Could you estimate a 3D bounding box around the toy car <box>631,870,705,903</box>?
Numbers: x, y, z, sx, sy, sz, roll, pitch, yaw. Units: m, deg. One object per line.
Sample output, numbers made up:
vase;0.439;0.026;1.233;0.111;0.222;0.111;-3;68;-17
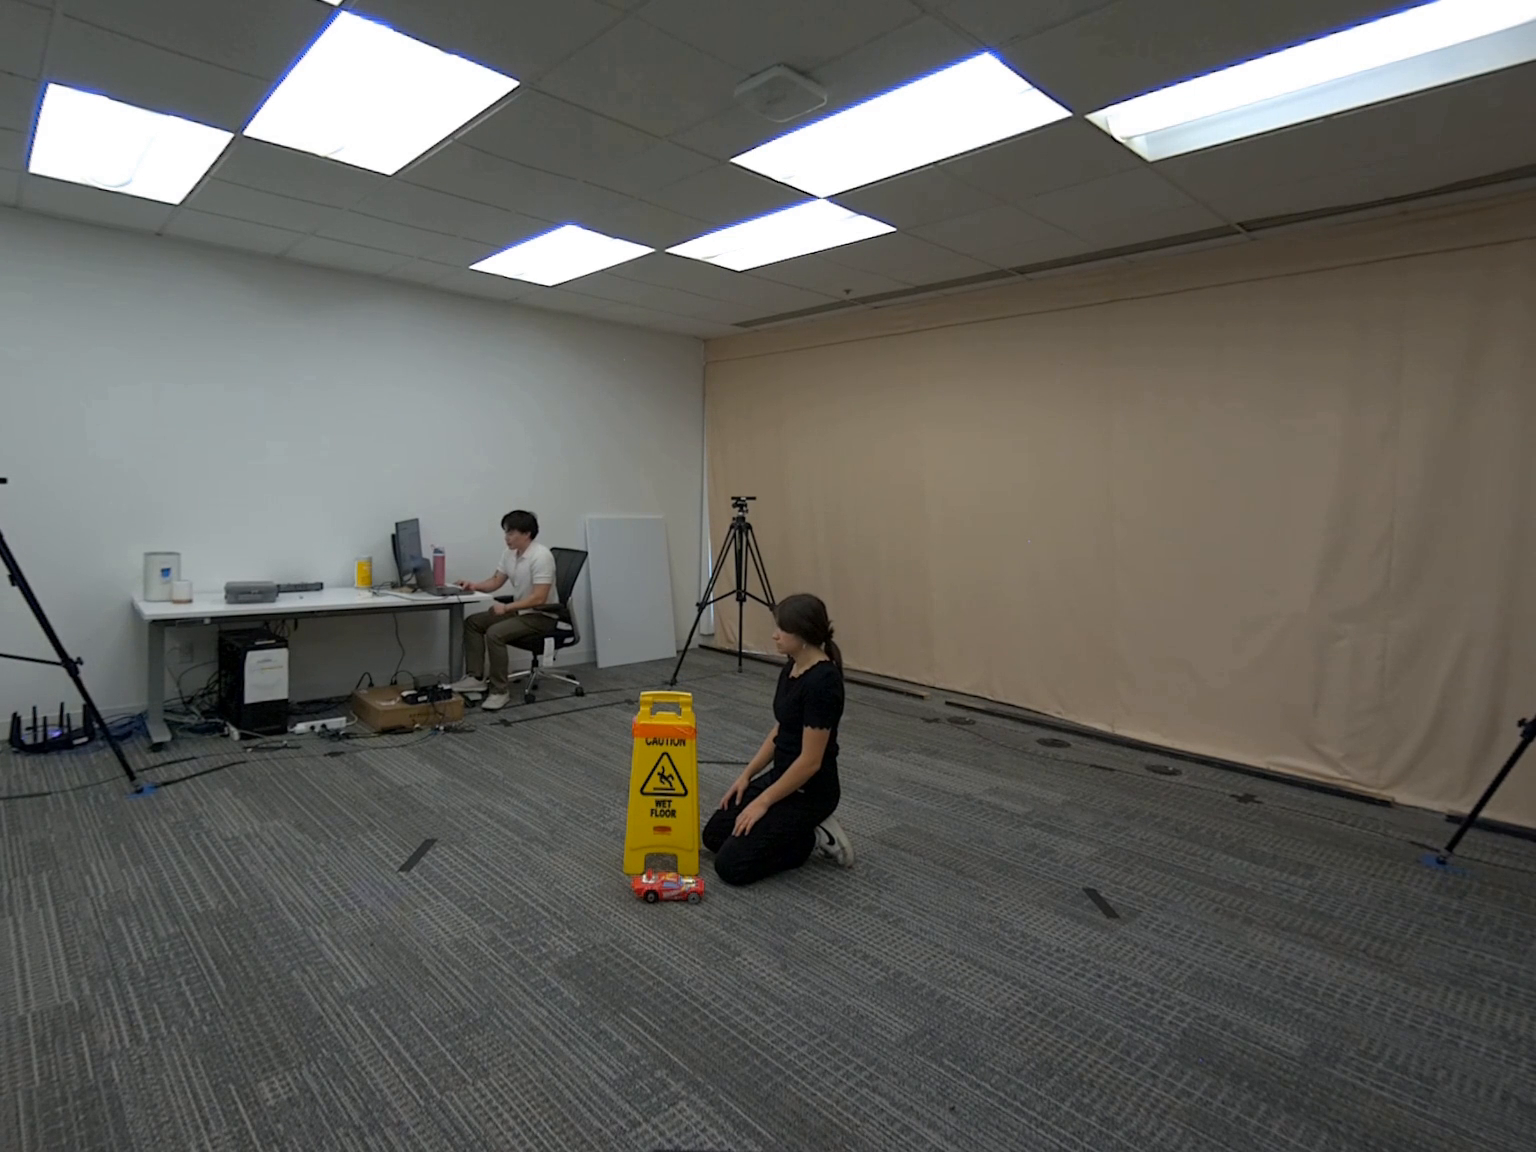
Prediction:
toy car;-0.371;1.086;2.935;0.254;0.083;0.131;12;5;-3
